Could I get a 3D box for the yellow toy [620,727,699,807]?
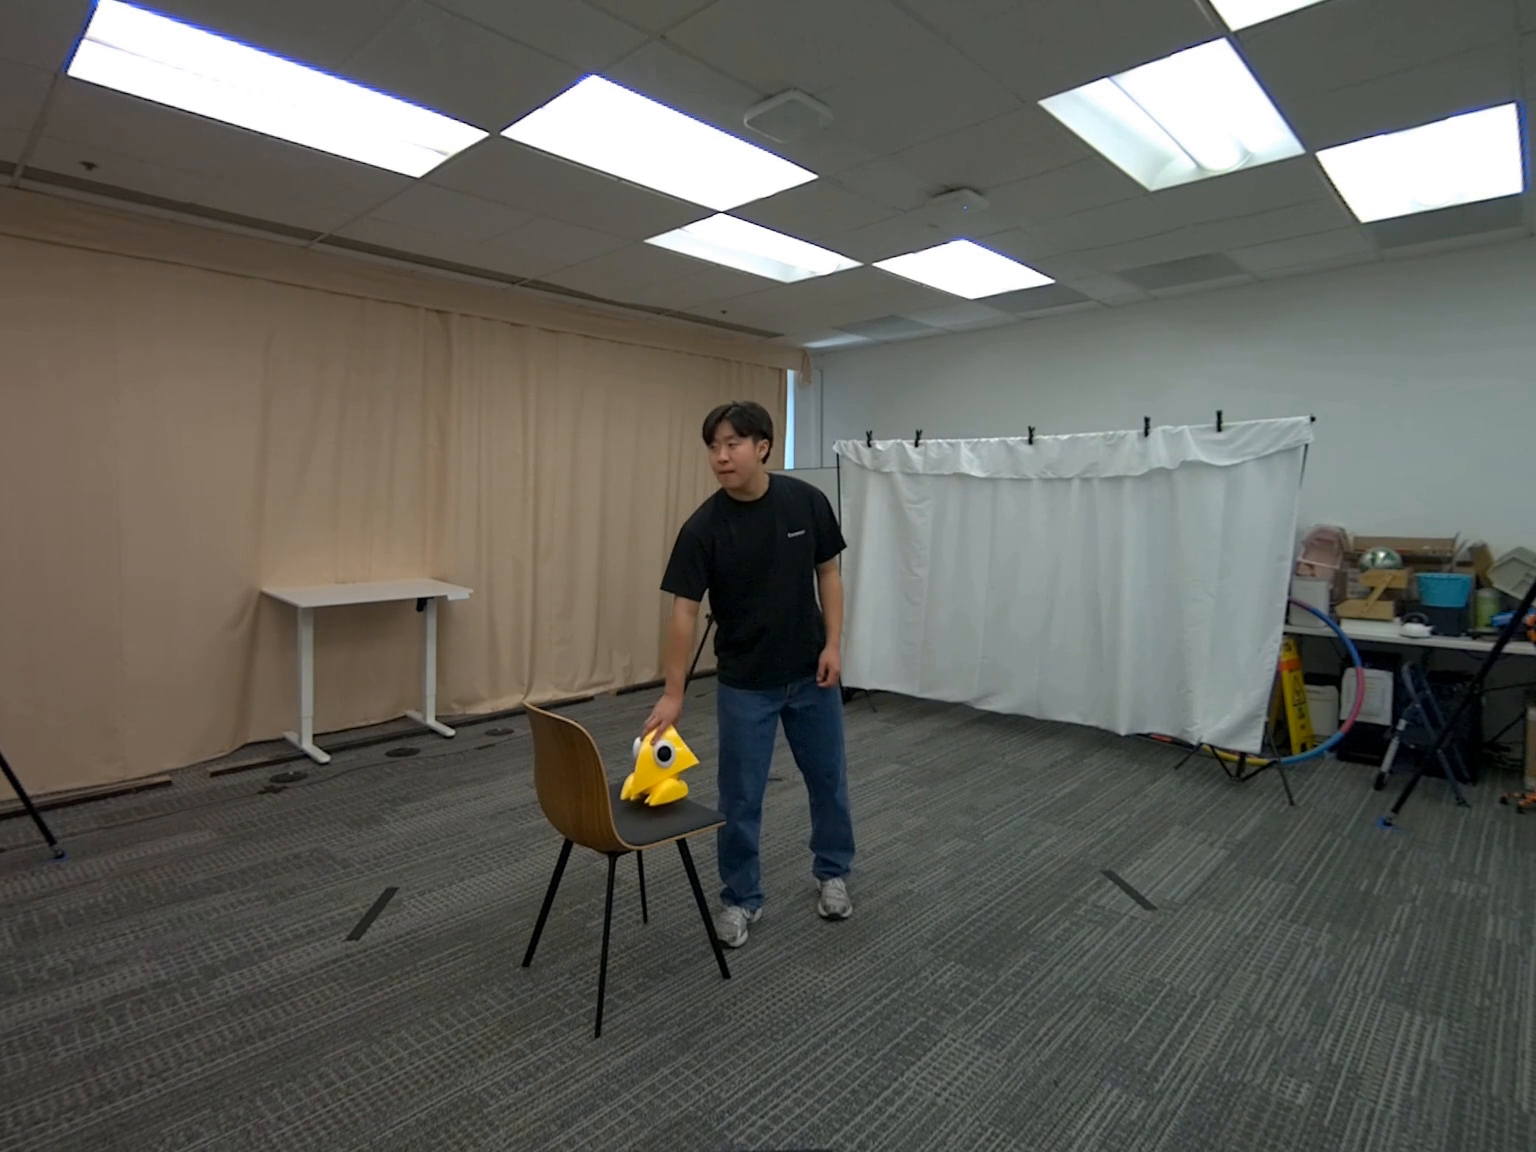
[{"bbox_3d":[-0.346,0.545,2.551,0.211,0.230,0.187,-4,2,42],"label":"yellow toy"}]
